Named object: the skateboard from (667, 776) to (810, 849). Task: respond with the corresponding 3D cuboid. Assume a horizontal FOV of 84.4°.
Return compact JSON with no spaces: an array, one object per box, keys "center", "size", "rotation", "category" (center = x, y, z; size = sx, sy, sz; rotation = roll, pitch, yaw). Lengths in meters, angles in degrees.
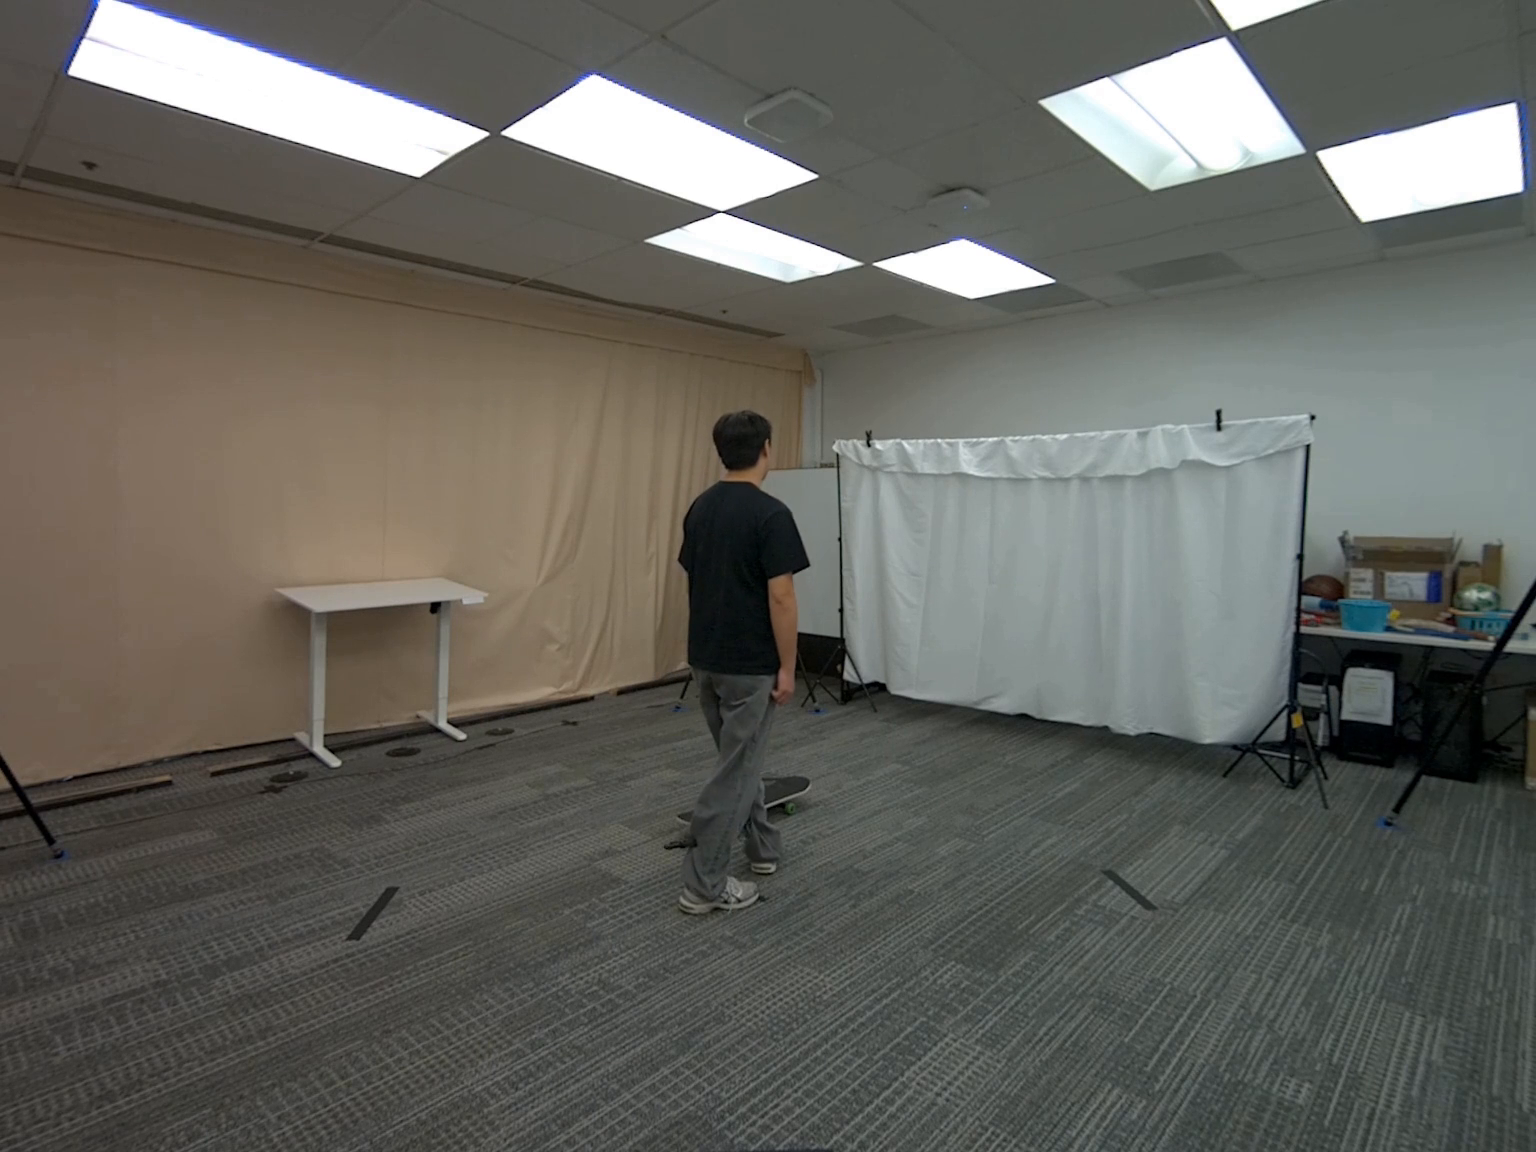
[{"center":[-0.091,1.028,3.717],"size":[0.200,0.110,0.761],"rotation":[3,6,43],"category":"skateboard"}]
